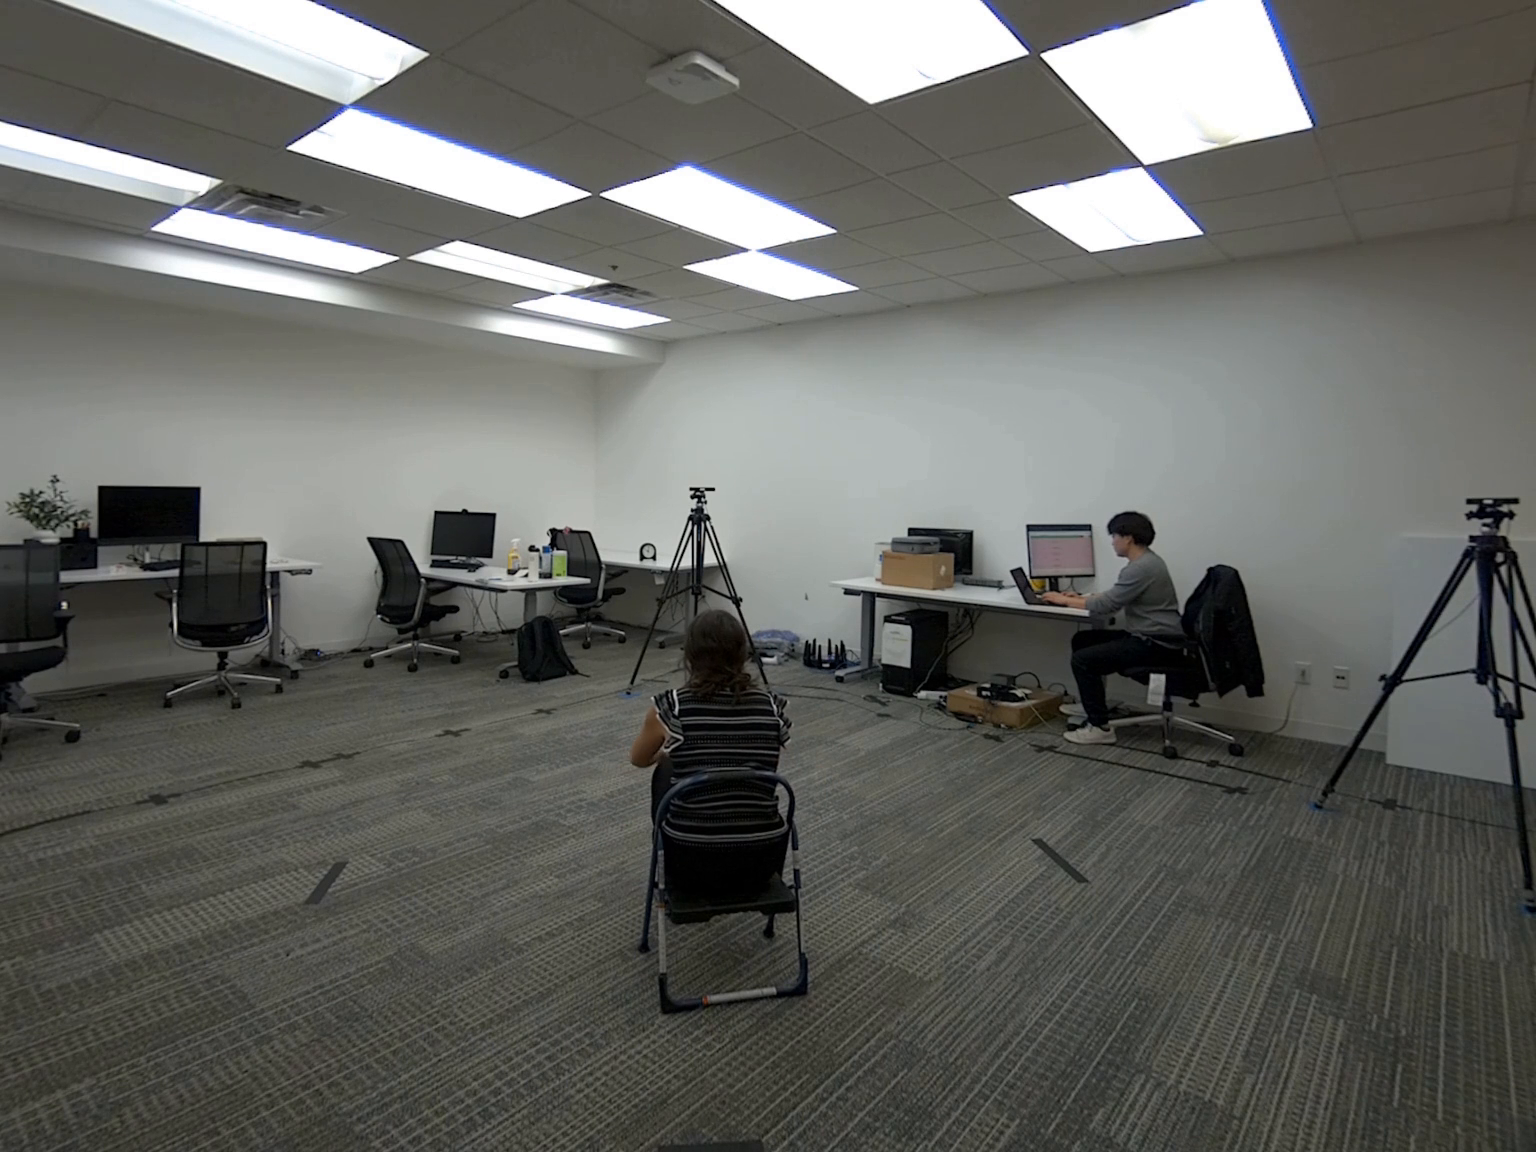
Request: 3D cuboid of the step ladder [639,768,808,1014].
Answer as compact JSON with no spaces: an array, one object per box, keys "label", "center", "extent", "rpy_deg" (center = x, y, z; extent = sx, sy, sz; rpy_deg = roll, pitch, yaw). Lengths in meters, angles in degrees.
[{"label":"step ladder","center":[-0.137,0.839,2.443],"extent":[0.423,0.604,0.356],"rpy_deg":[-1,4,-17]}]
